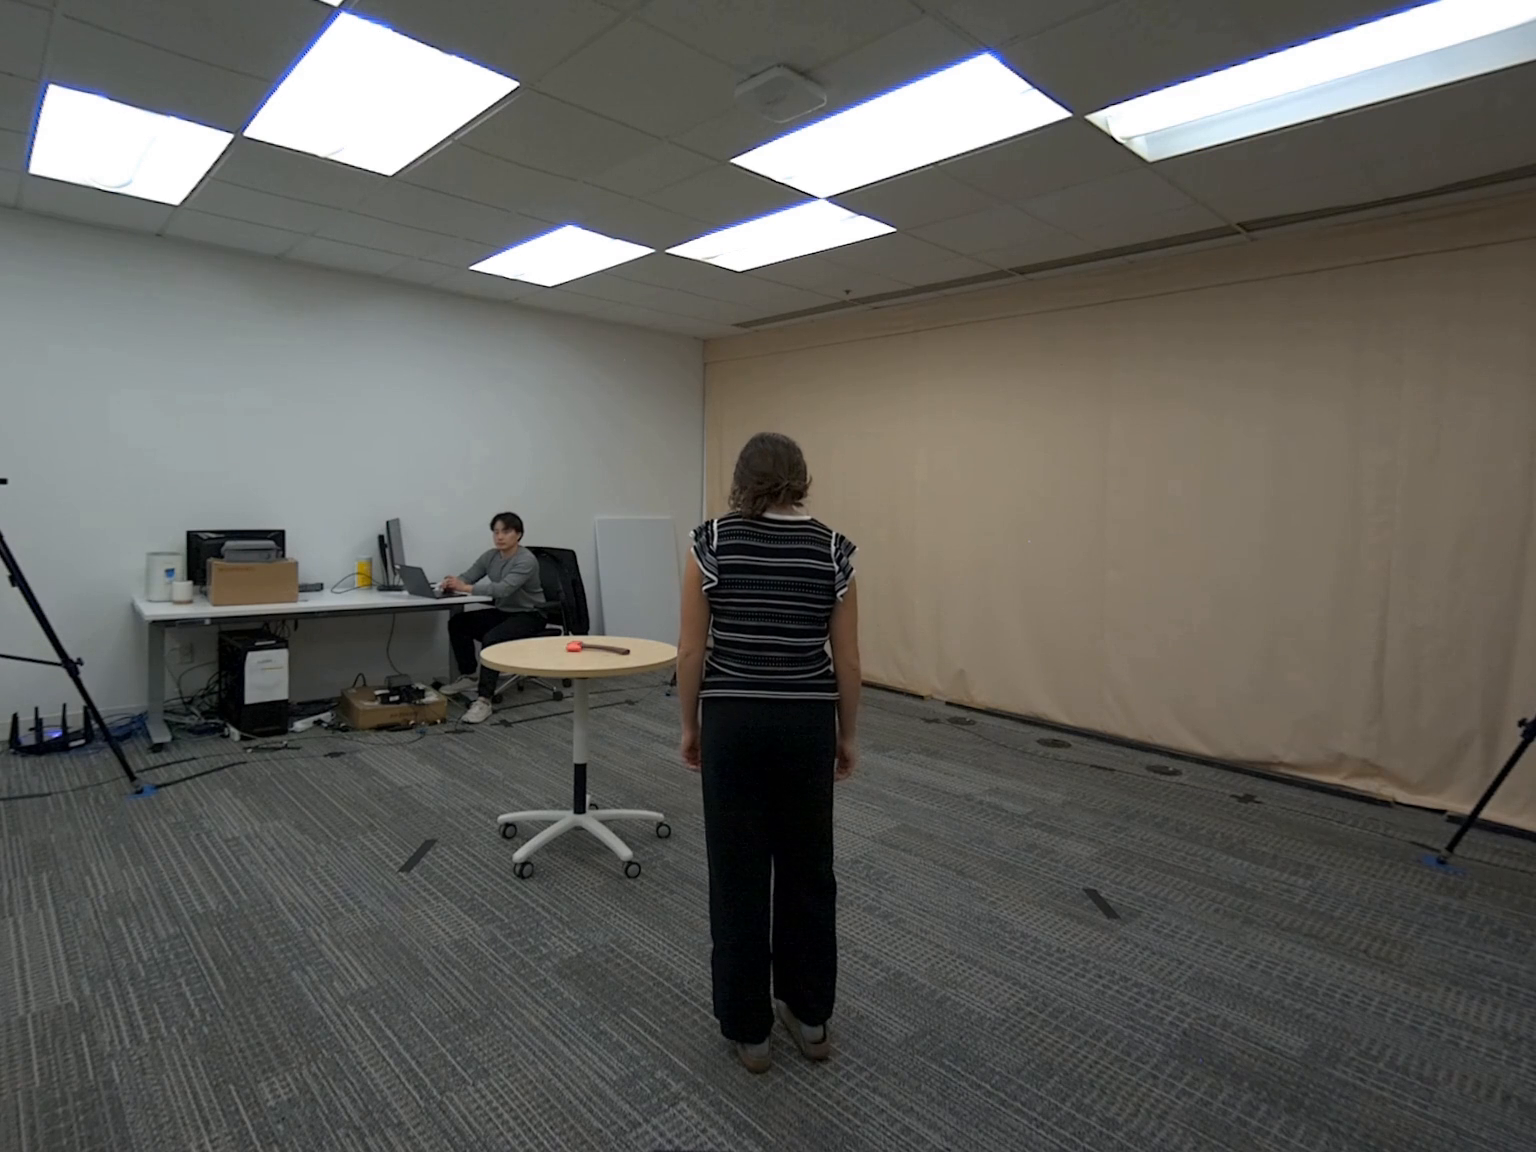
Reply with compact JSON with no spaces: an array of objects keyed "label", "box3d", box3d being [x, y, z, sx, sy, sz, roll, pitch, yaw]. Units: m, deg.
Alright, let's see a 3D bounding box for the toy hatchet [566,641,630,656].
[{"label":"toy hatchet","box3d":[-0.674,0.282,3.263,0.276,0.029,0.128,6,7,33]}]
